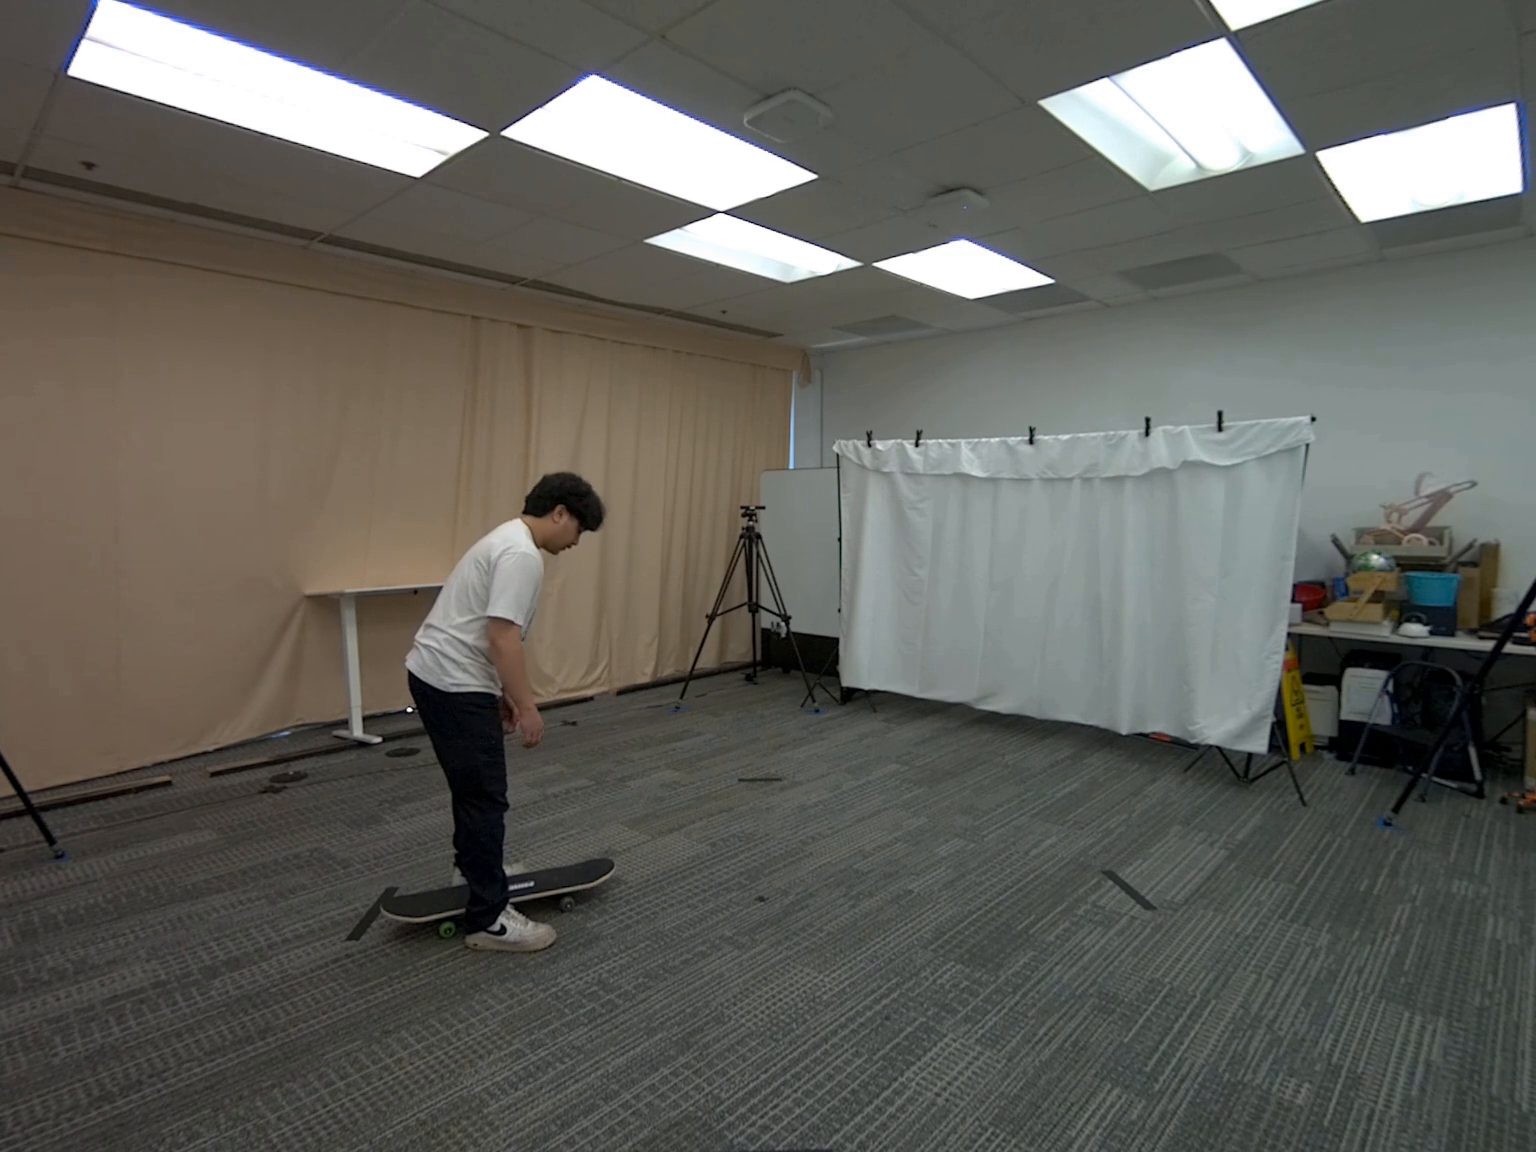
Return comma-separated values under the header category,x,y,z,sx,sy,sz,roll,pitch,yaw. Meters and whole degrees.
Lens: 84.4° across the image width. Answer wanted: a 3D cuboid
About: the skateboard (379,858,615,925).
category,x,y,z,sx,sy,sz,roll,pitch,yaw
skateboard,-0.907,1.108,2.878,0.767,0.110,0.198,-2,5,-25
